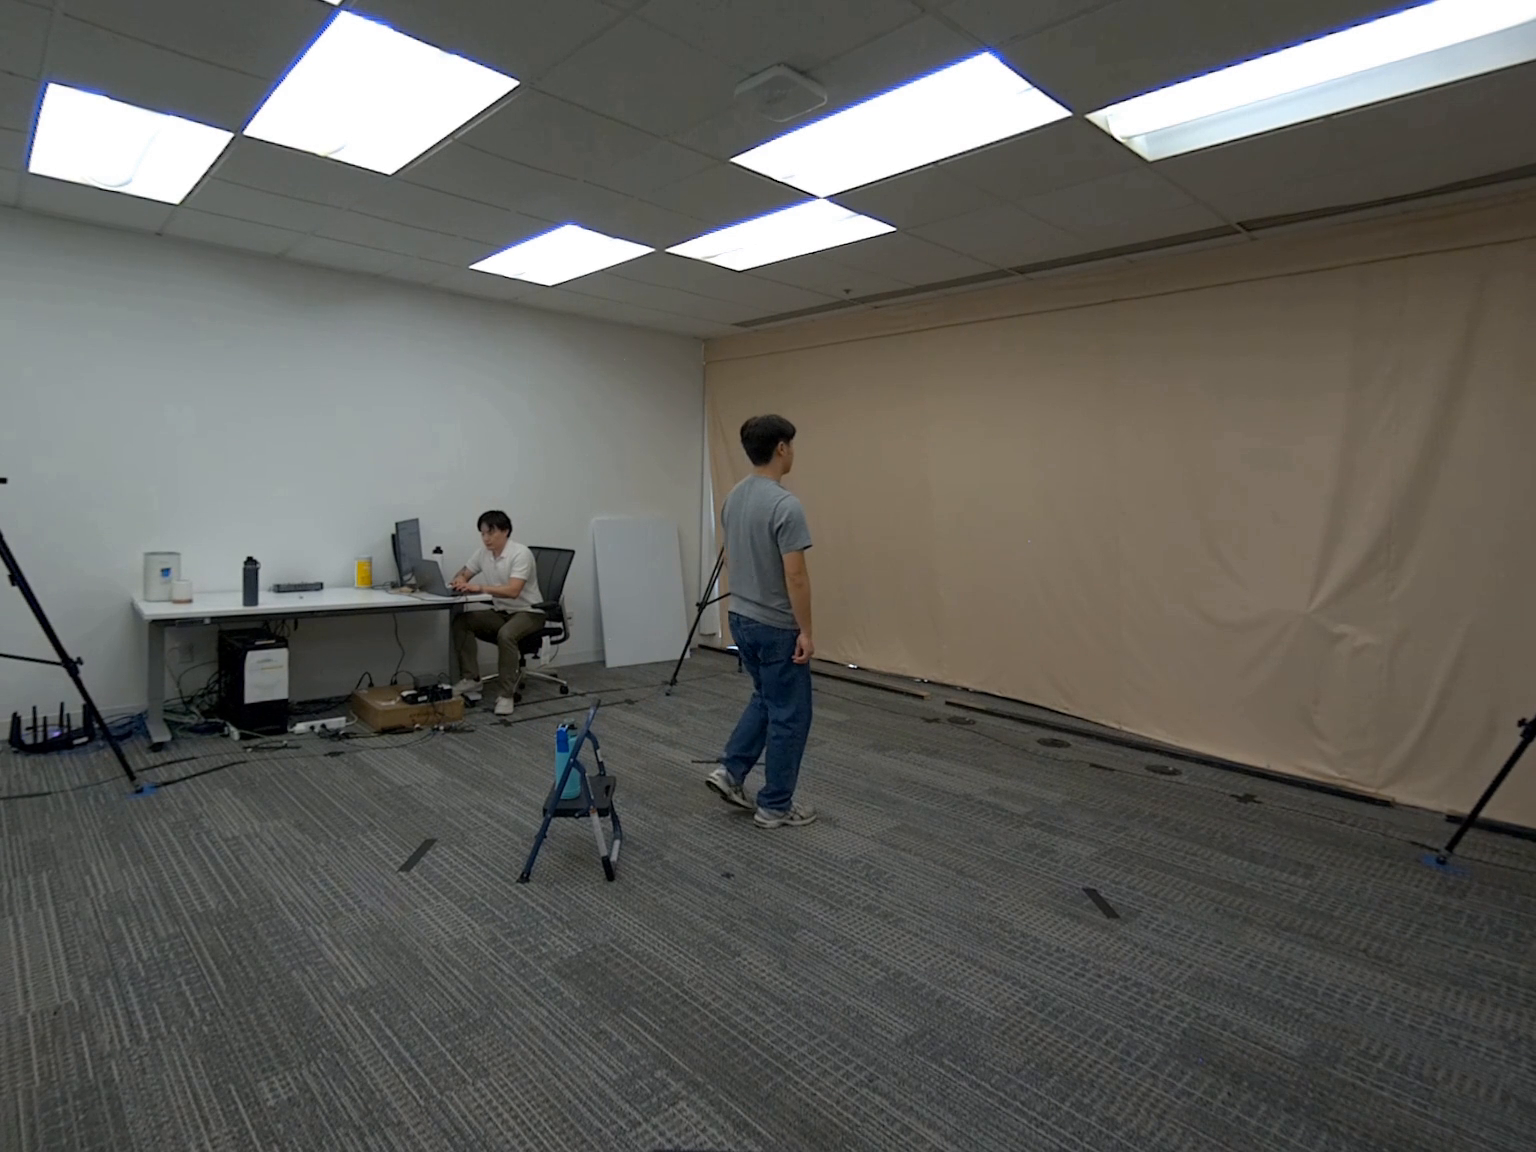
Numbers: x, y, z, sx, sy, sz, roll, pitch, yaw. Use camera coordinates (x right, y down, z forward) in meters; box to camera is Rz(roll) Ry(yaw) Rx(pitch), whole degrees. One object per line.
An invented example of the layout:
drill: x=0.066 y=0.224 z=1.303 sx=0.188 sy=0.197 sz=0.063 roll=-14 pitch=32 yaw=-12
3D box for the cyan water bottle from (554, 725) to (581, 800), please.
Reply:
cyan water bottle: x=-0.763 y=0.683 z=3.158 sx=0.092 sy=0.282 sz=0.093 roll=0 pitch=6 yaw=-1
